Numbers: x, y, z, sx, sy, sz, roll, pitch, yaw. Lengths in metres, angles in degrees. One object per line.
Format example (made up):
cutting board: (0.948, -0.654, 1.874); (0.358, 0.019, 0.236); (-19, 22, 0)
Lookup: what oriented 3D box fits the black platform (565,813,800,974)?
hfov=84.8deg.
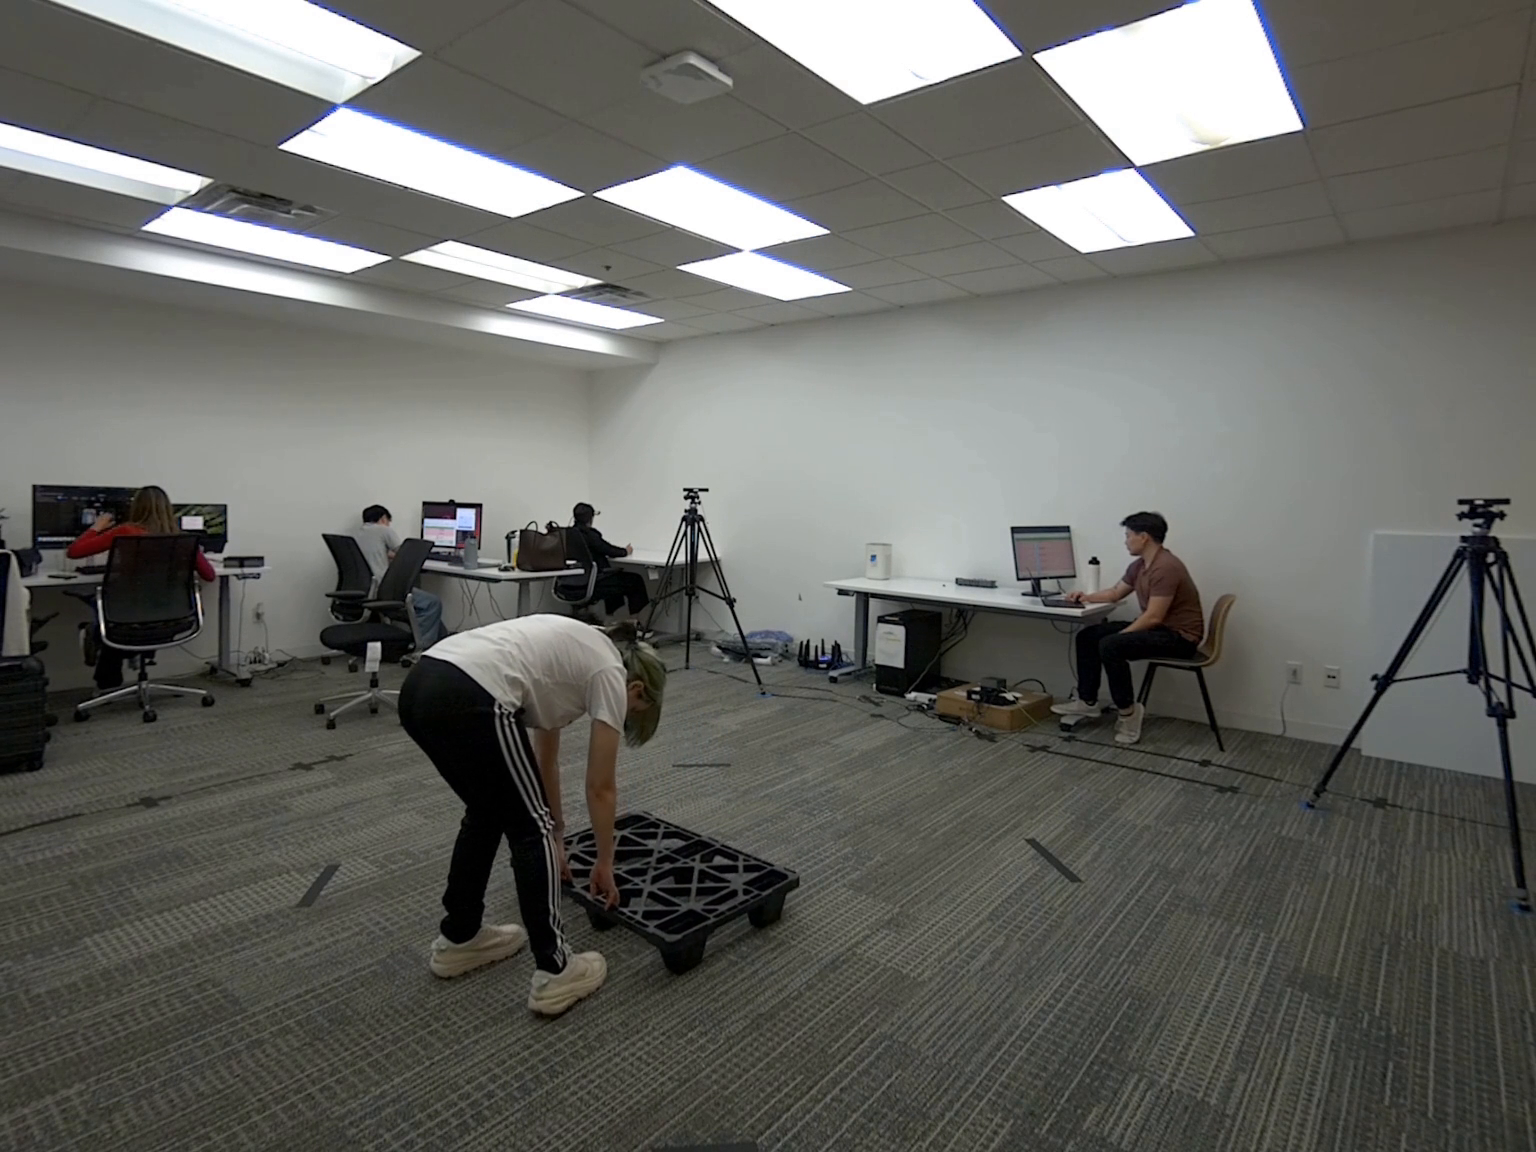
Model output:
black platform: (-0.390, 1.027, 2.834); (0.833, 0.143, 0.587); (5, 7, 41)
